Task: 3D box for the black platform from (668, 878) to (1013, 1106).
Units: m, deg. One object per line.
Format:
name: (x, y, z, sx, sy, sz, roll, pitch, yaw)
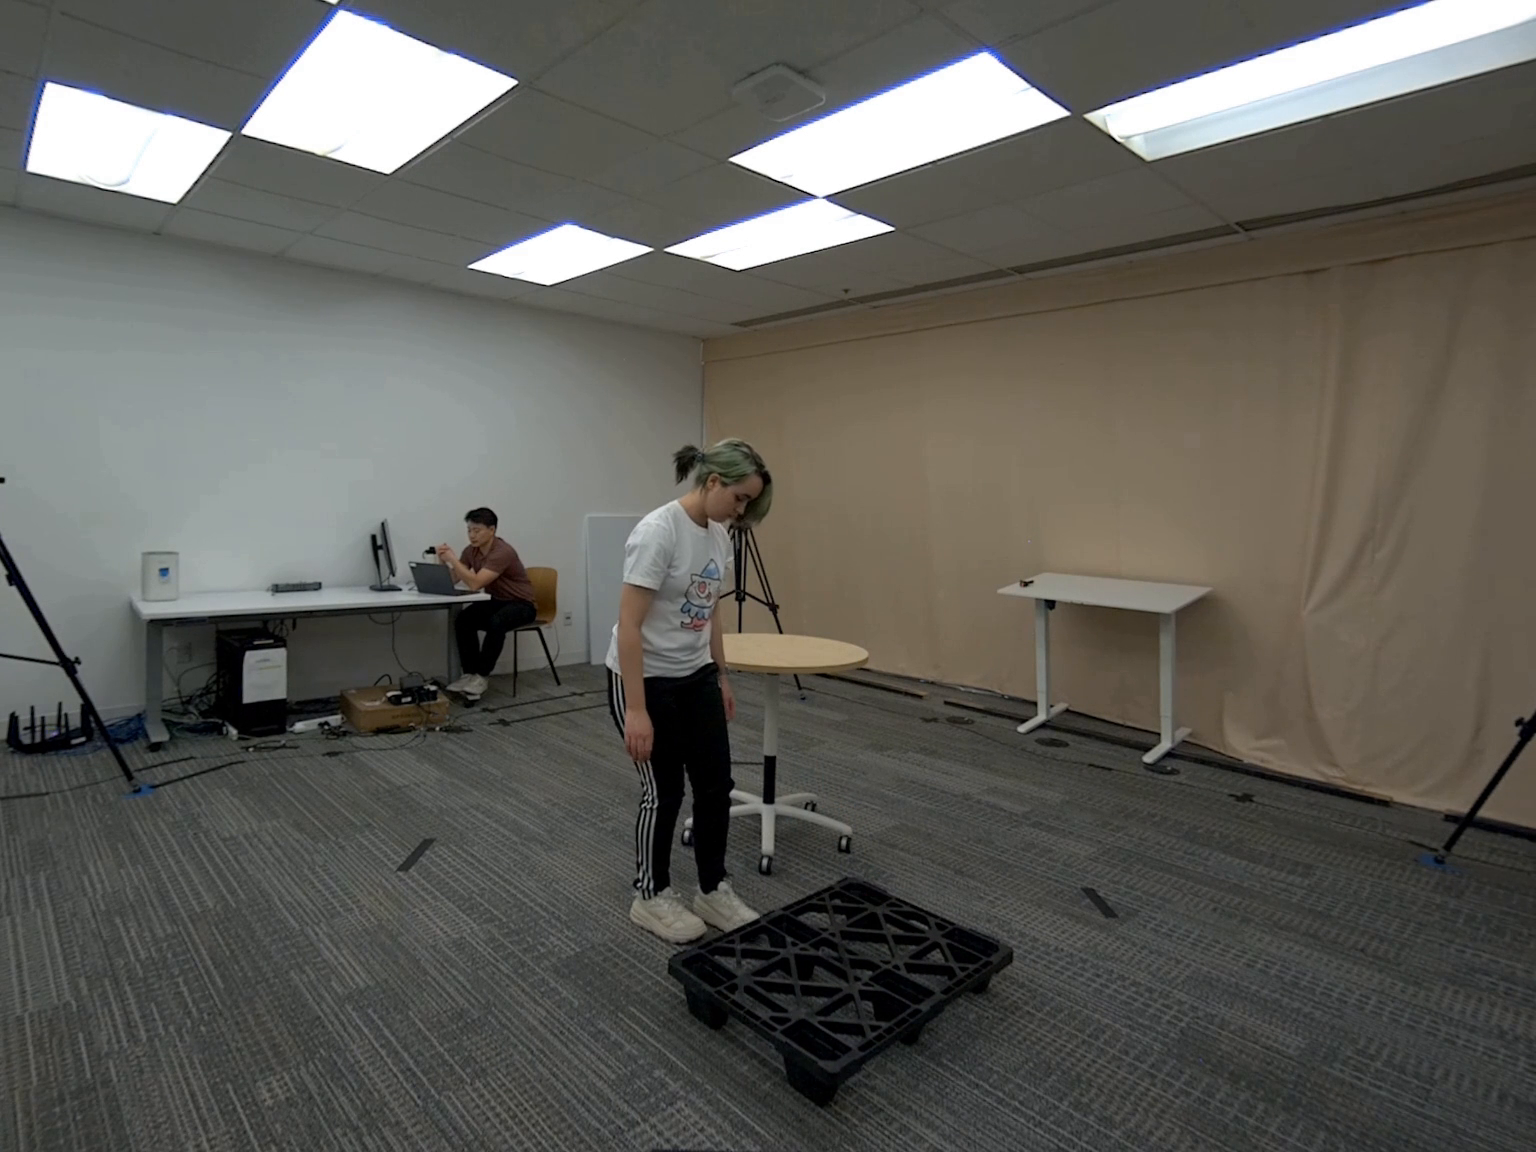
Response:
black platform: (0.207, 1.118, 2.343, 0.787, 0.143, 0.621, -4, 8, -44)
